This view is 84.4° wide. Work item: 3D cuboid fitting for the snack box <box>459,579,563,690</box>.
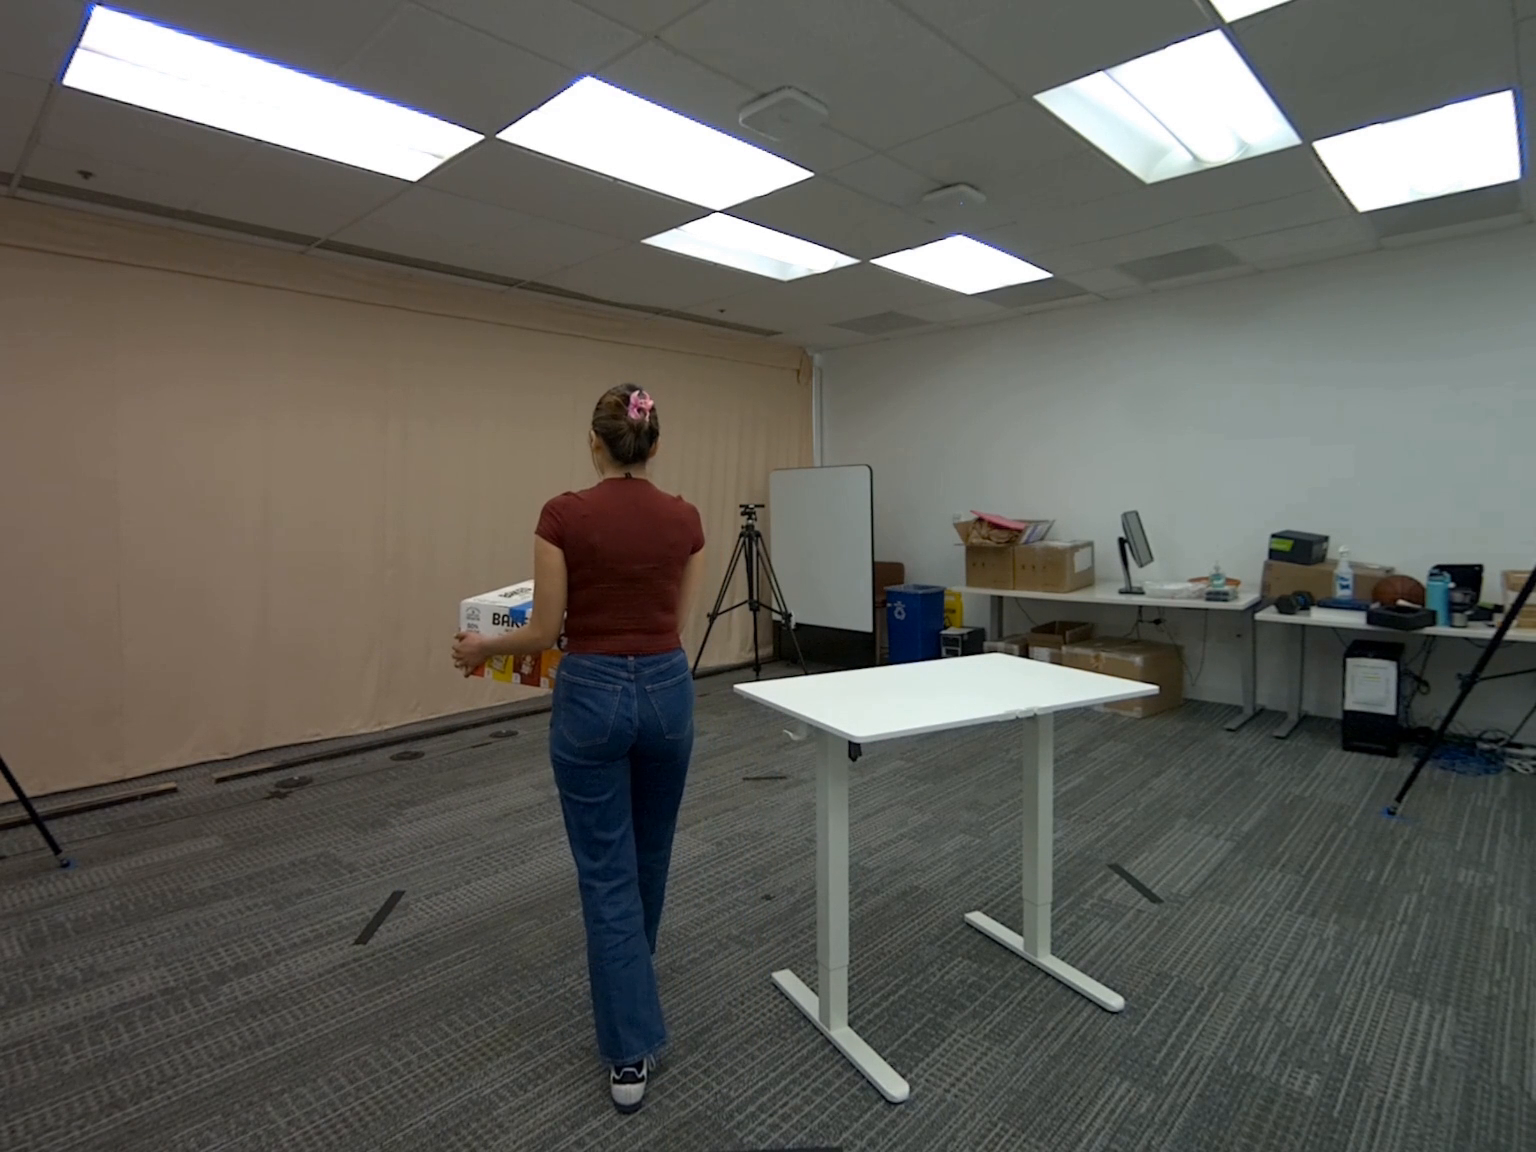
[{"bbox_3d":[-0.624,0.155,2.428,0.345,0.205,0.401,6,9,12],"label":"snack box"}]
